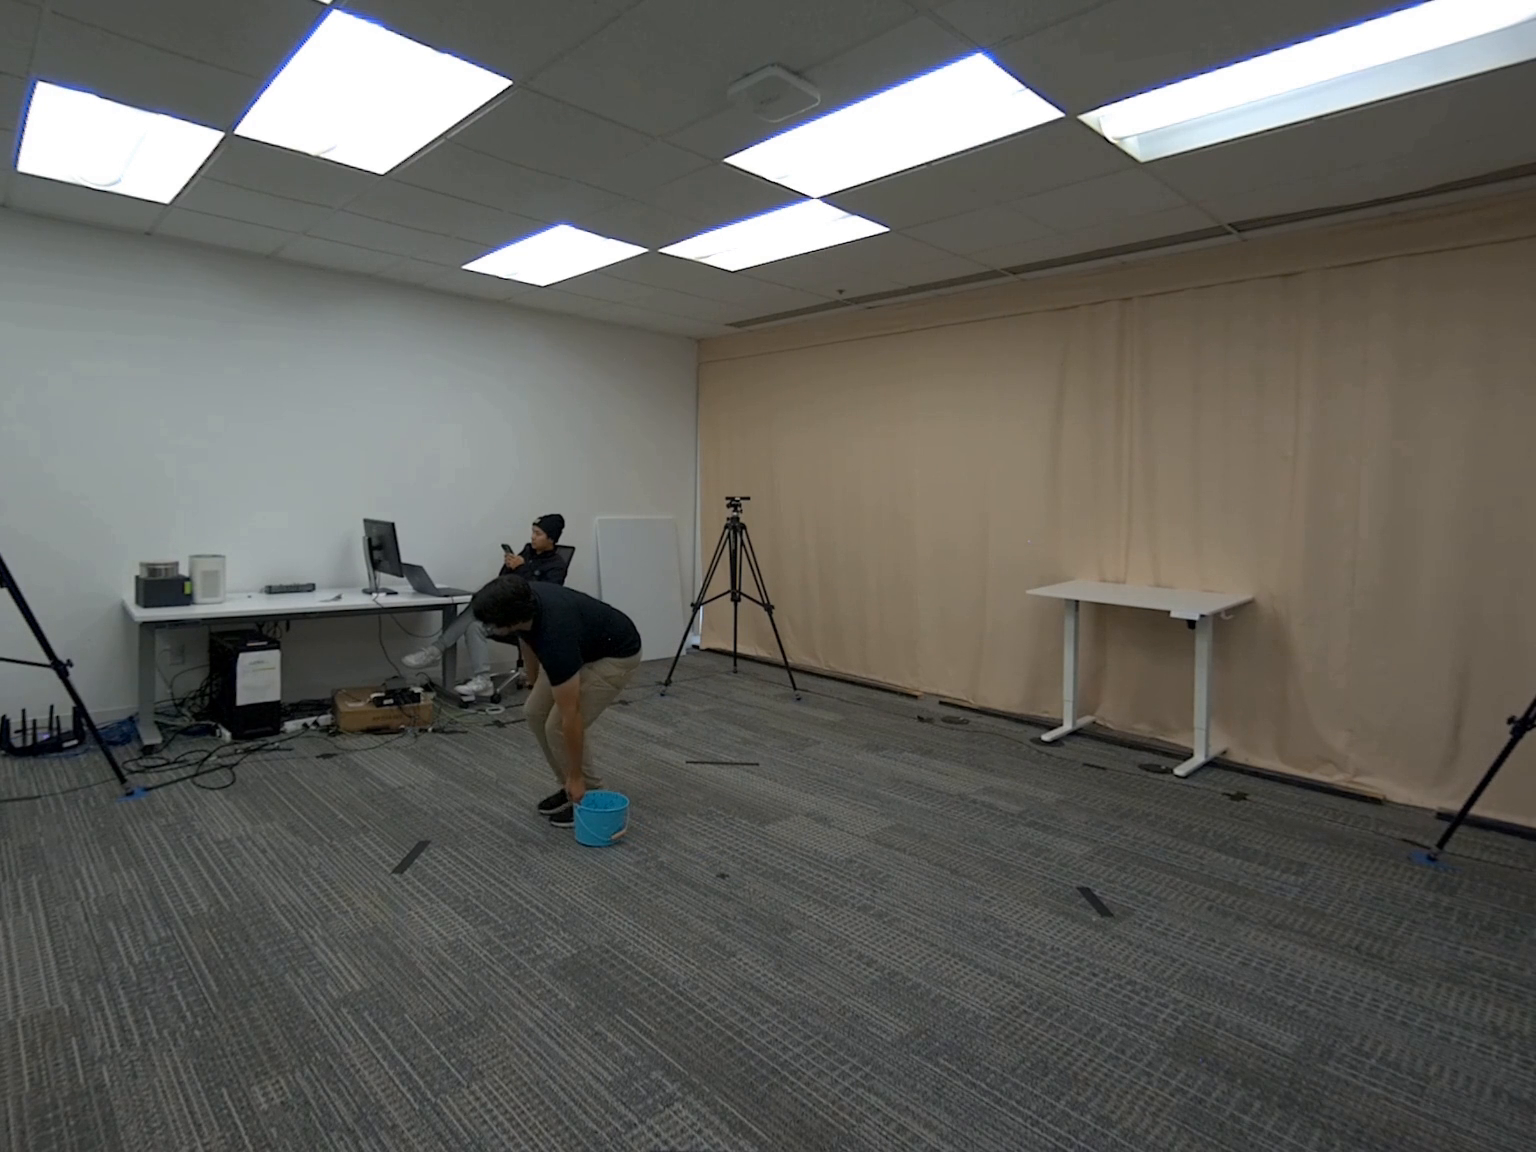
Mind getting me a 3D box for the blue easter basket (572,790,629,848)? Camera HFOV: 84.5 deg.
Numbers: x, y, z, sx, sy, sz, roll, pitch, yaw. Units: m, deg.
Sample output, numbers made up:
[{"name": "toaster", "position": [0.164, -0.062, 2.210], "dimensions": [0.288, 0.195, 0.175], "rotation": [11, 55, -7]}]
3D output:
[{"name": "blue easter basket", "position": [-0.698, 0.987, 3.413], "dimensions": [0.243, 0.155, 0.244], "rotation": [4, 3, -2]}]
